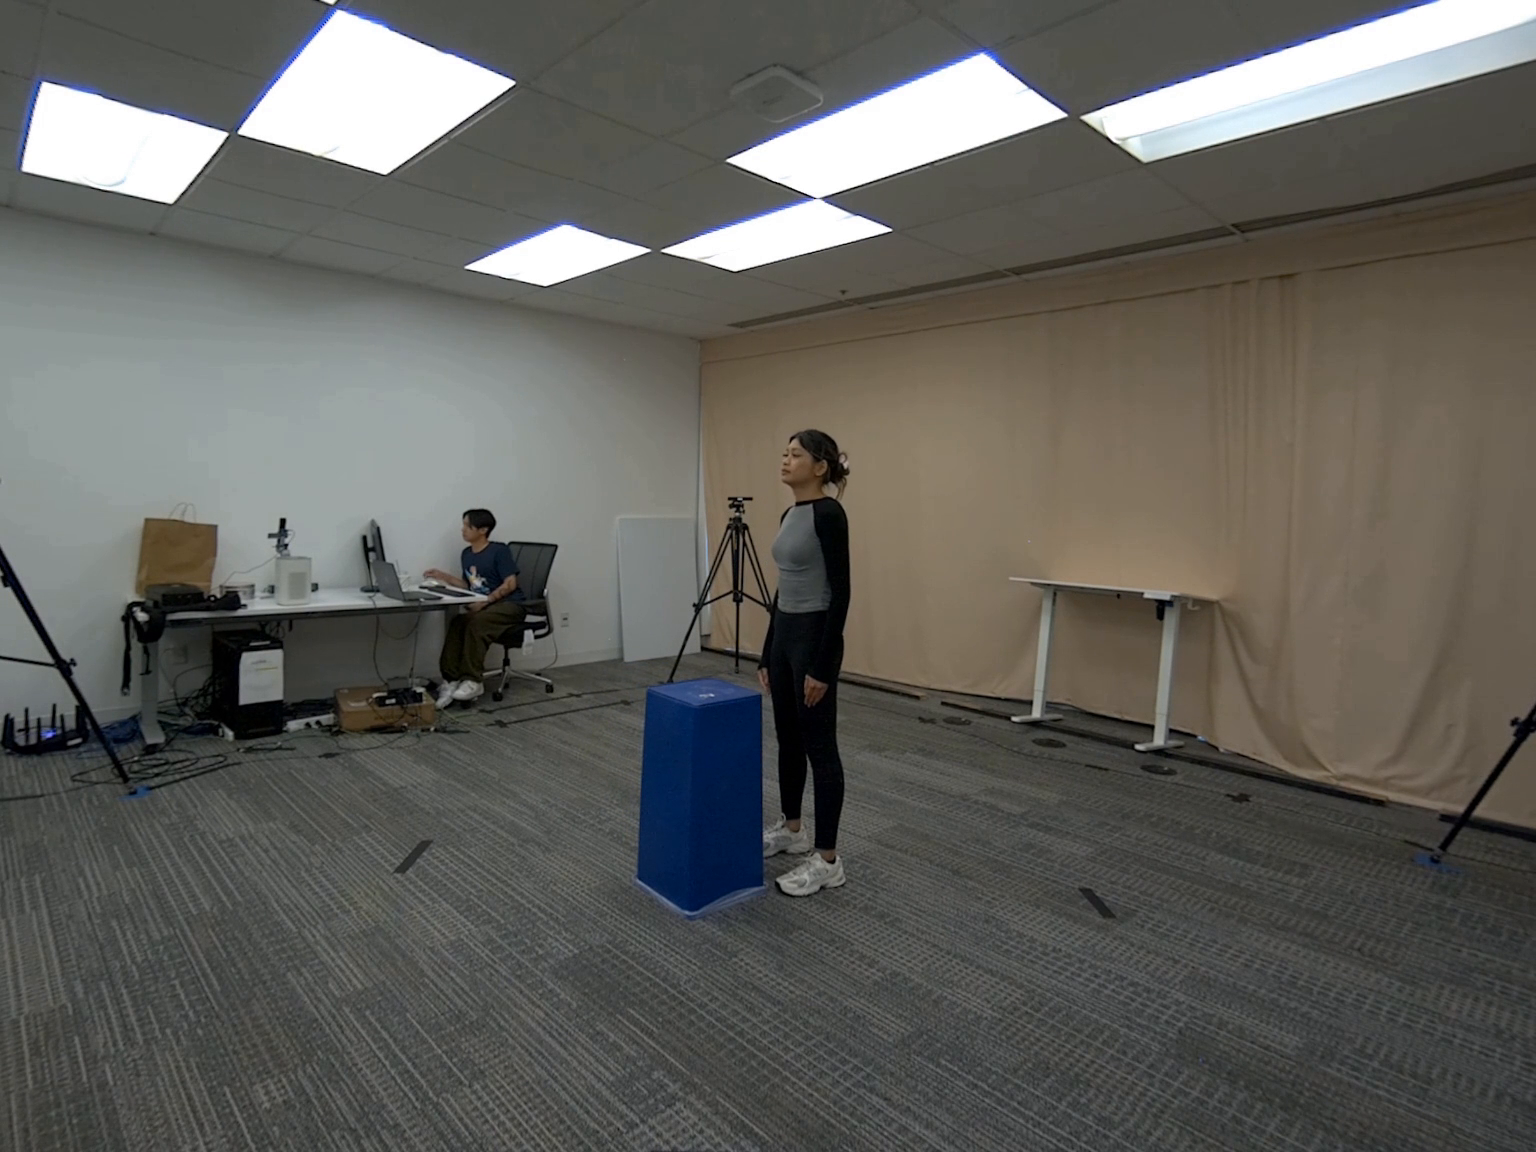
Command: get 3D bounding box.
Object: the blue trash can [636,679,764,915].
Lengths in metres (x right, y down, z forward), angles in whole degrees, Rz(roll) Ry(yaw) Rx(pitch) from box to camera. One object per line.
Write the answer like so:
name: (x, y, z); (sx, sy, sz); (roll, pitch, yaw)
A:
blue trash can: (-0.241, 0.764, 2.989); (0.369, 0.711, 0.384); (-2, 6, -40)
